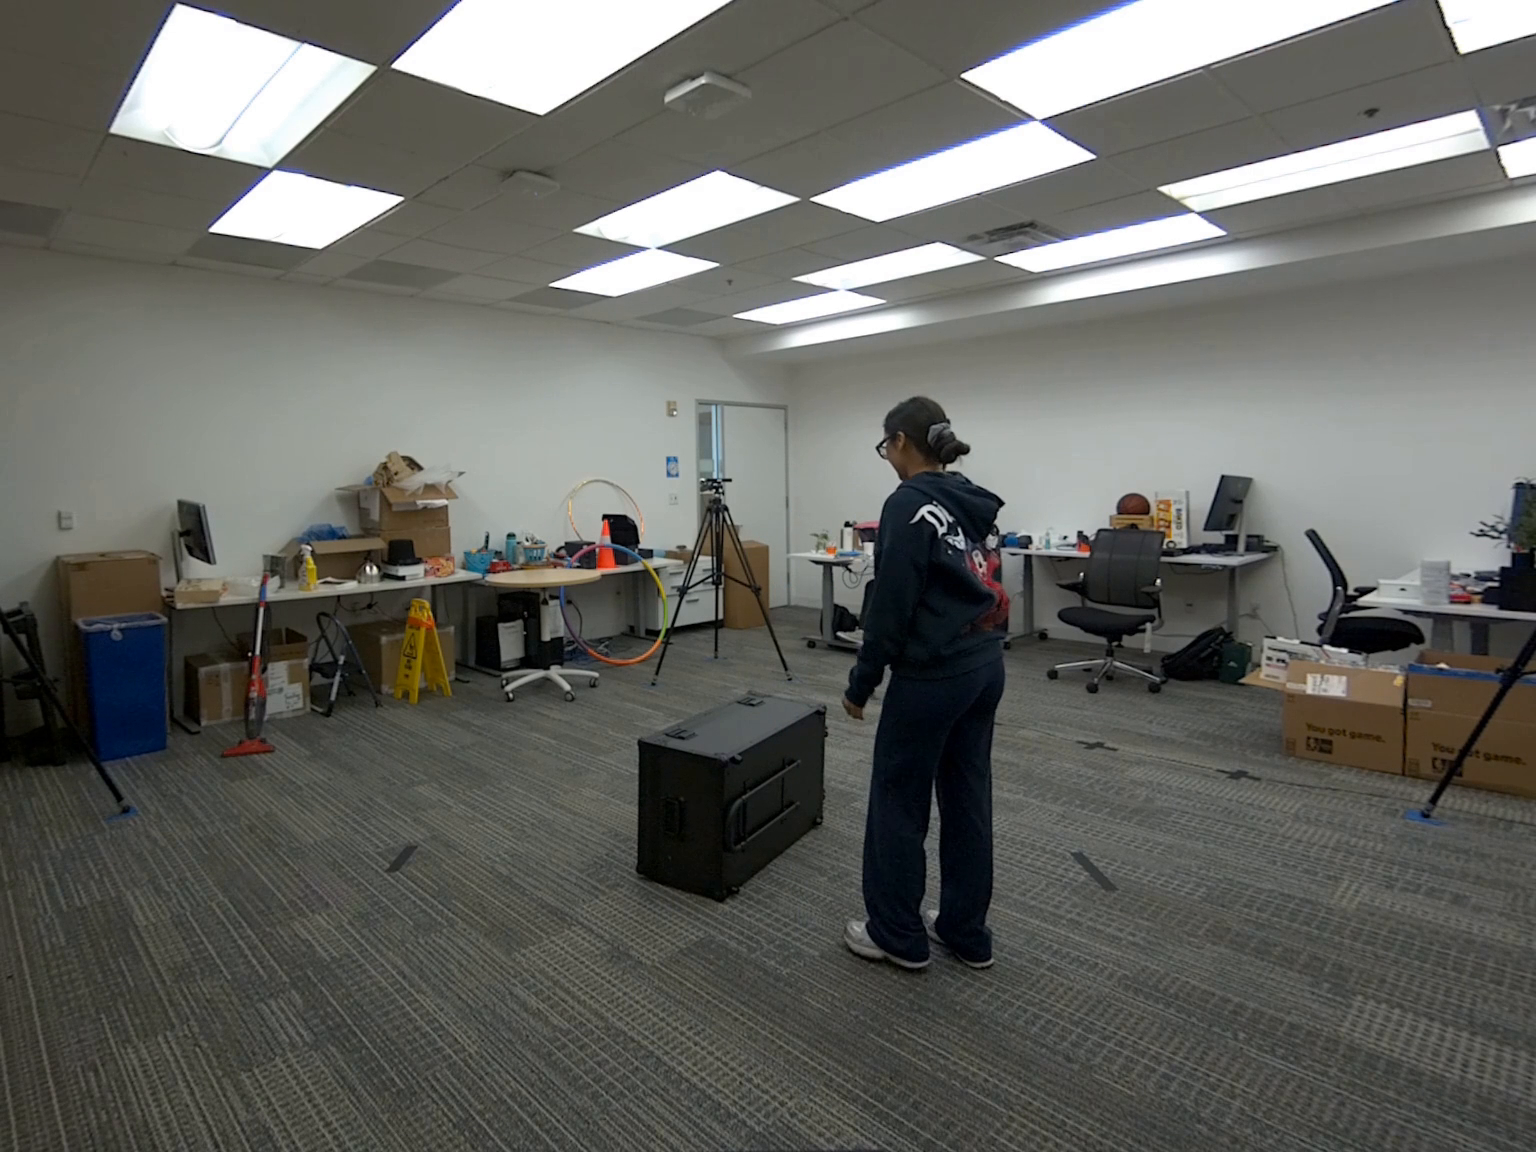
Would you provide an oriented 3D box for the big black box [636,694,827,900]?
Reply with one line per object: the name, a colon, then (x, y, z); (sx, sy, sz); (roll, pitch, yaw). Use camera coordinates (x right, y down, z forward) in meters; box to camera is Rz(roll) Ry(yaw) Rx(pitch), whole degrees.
big black box: (-0.084, 0.774, 3.237); (0.407, 0.518, 0.843); (5, 8, 29)
